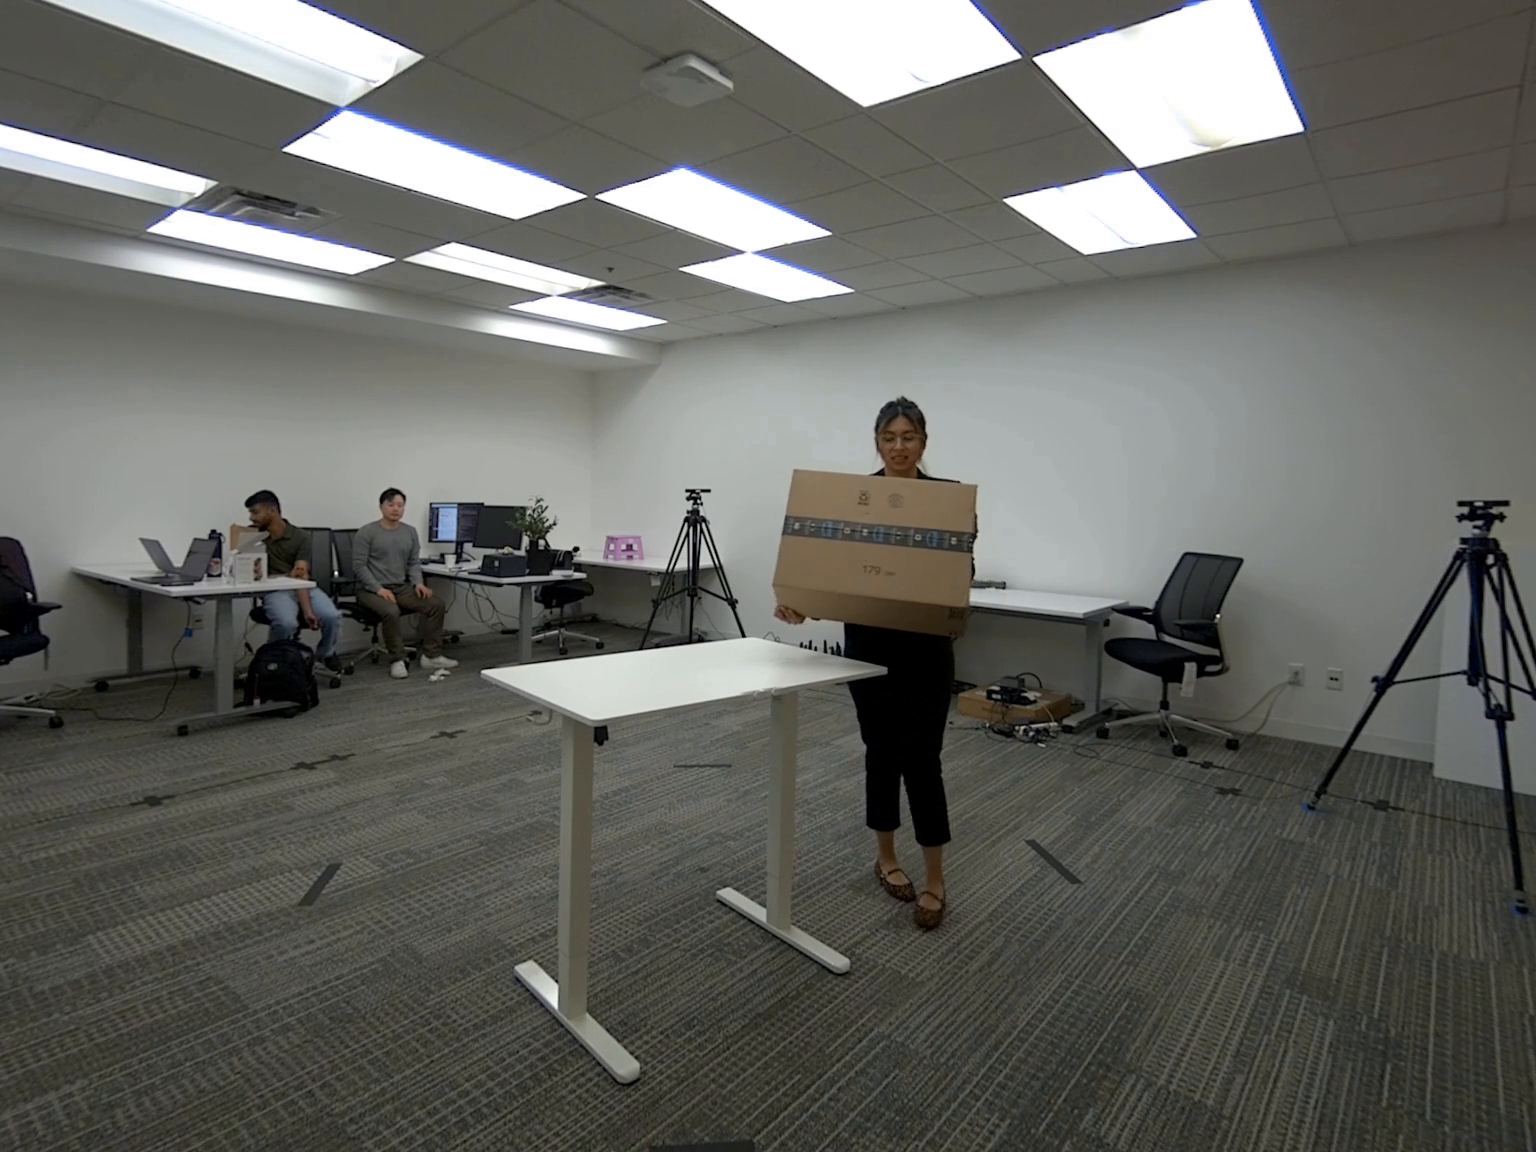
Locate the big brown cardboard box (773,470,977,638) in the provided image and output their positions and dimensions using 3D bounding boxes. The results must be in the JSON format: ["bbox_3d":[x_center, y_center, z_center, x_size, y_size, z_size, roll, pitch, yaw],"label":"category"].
[{"bbox_3d":[0.335,-0.080,2.630,0.598,0.424,0.226,7,-27,13],"label":"big brown cardboard box"}]
